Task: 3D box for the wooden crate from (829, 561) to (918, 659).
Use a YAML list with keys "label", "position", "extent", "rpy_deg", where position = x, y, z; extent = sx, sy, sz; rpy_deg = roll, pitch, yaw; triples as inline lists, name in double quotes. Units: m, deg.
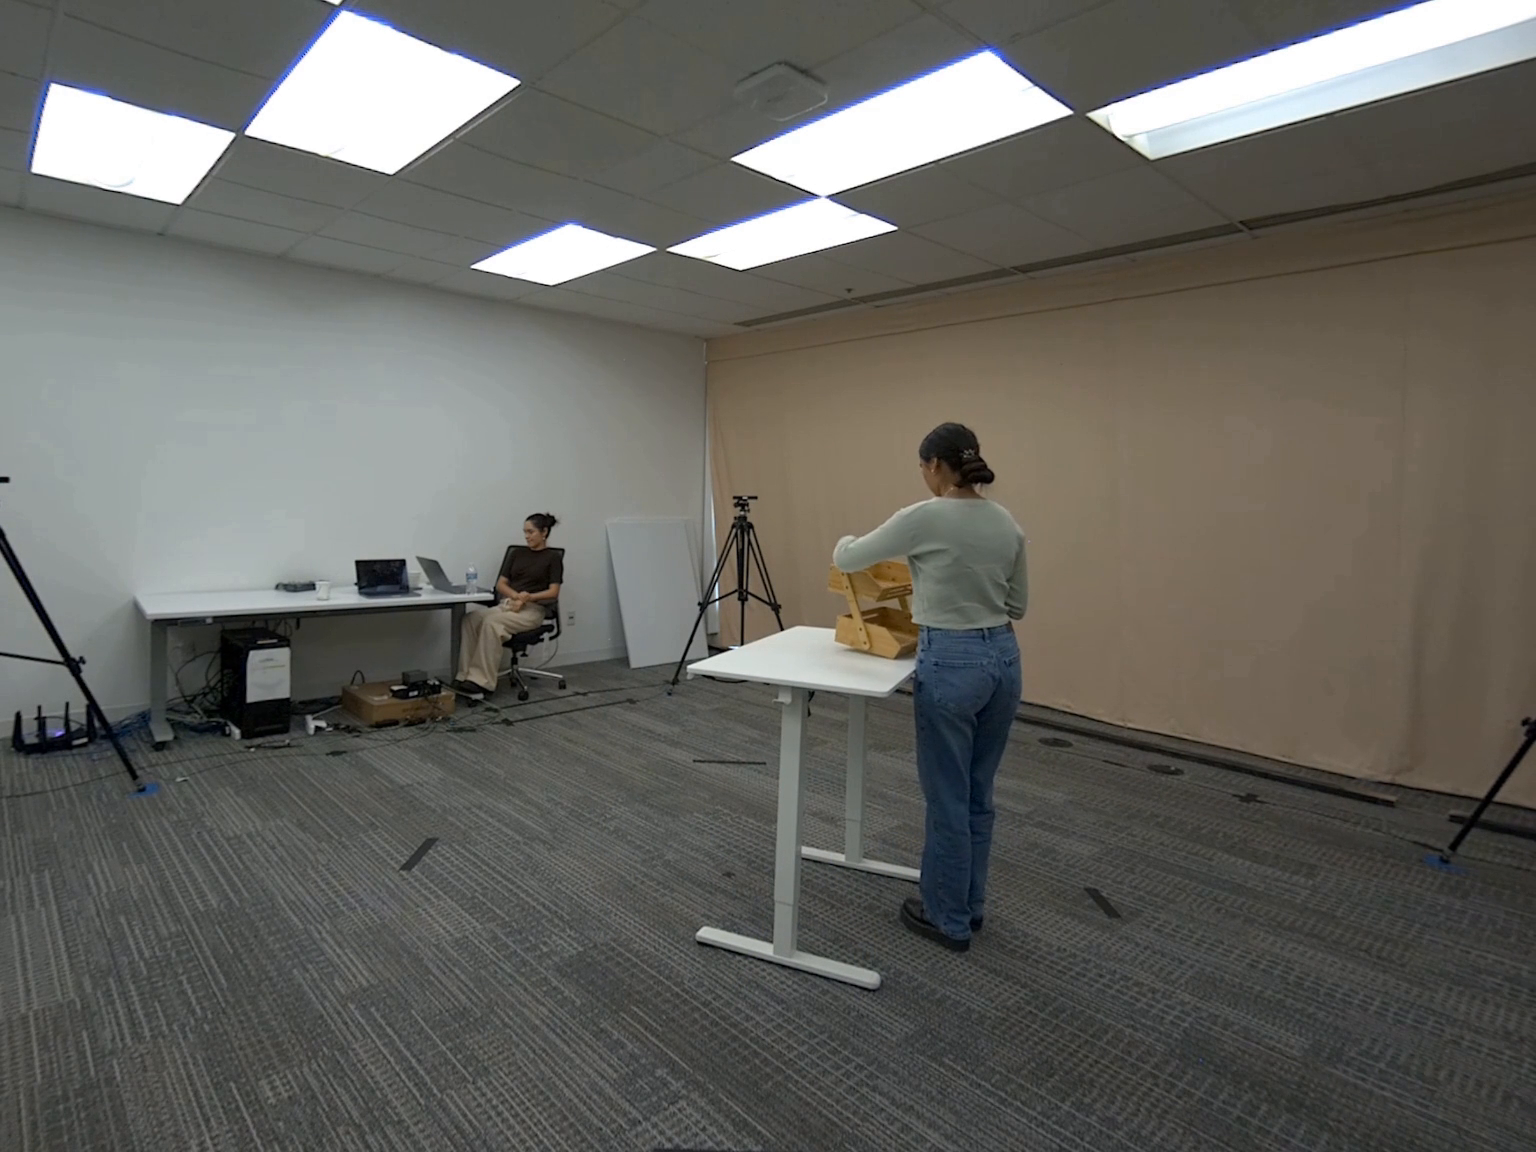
- label: "wooden crate"
  position: [0.406, 0.101, 2.886]
  extent: [0.310, 0.271, 0.317]
  rpy_deg: [12, 12, 38]
